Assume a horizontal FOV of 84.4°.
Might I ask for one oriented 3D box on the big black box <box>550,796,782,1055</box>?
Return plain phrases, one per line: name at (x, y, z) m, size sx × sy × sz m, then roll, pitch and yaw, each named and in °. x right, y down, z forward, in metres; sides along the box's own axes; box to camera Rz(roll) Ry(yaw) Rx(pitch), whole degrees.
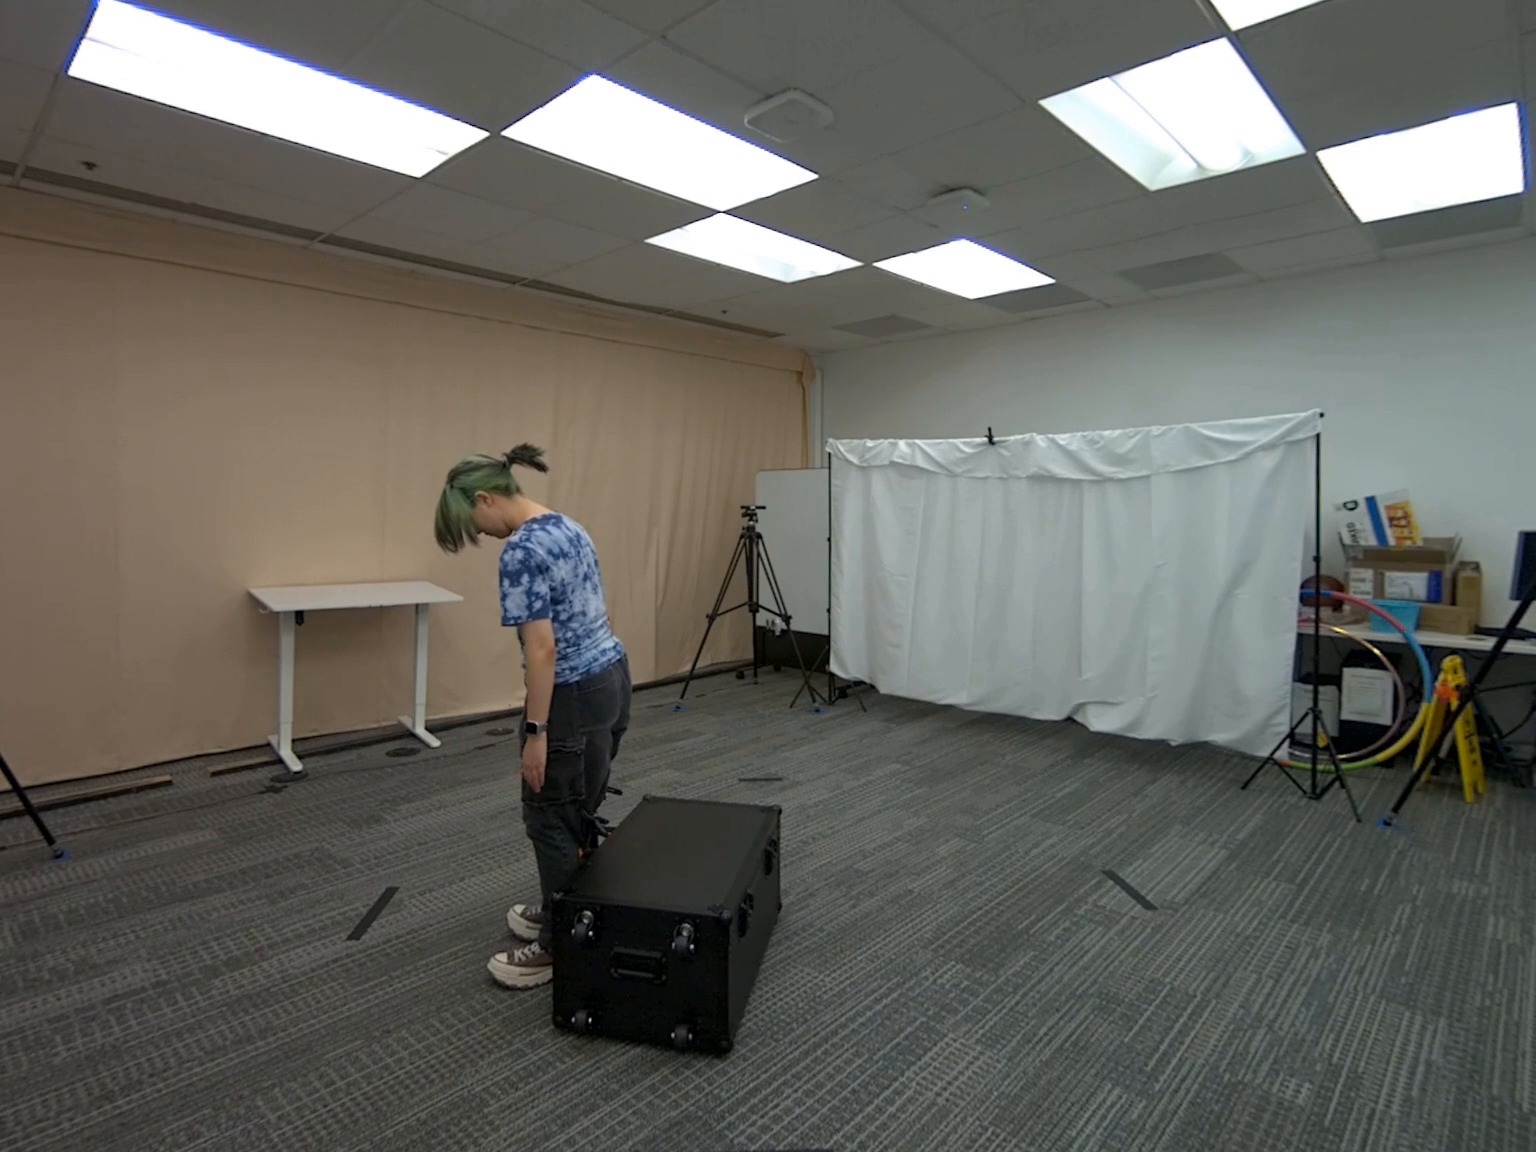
big black box at (-0.265, 0.992, 2.497) m, size 0.528 × 0.395 × 0.851 m, roll 1°, pitch 4°, yaw 11°
